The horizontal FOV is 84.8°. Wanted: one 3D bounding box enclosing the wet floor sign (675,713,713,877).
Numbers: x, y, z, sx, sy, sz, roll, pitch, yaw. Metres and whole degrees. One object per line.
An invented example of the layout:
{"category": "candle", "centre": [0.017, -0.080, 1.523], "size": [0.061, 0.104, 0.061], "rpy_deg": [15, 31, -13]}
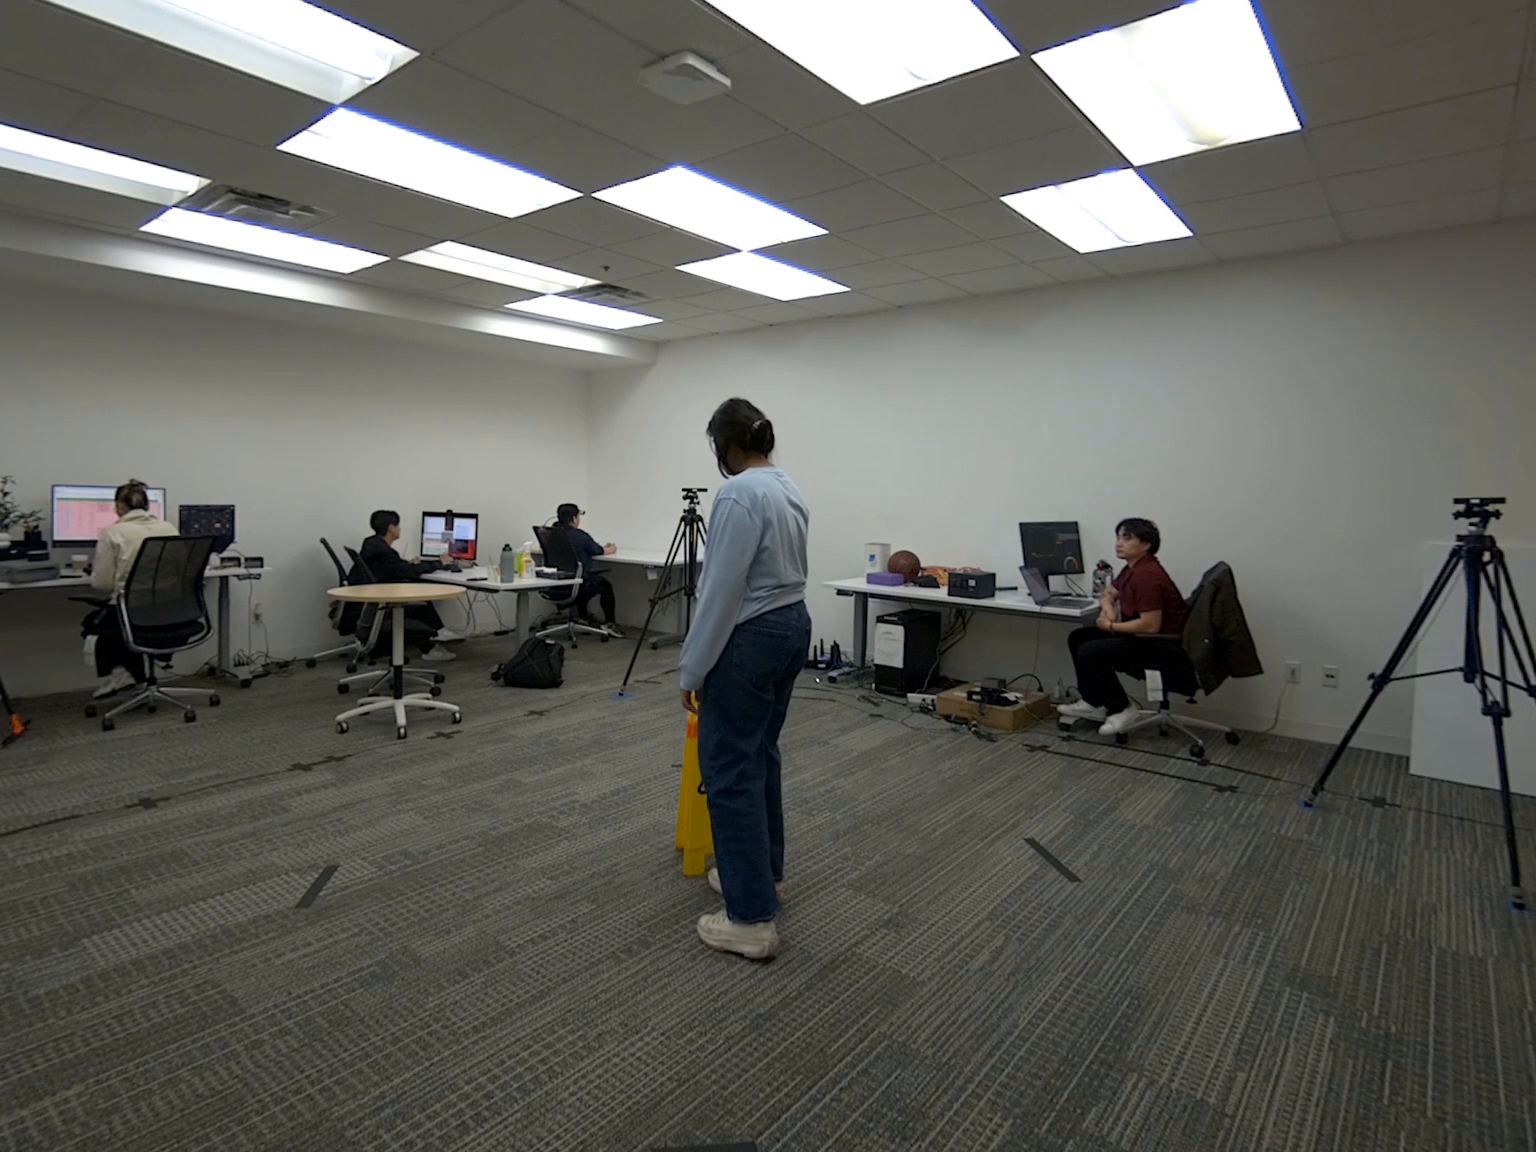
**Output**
{"category": "wet floor sign", "centre": [-0.193, 0.739, 3.181], "size": [0.279, 0.645, 0.294], "rpy_deg": [1, 2, -12]}
